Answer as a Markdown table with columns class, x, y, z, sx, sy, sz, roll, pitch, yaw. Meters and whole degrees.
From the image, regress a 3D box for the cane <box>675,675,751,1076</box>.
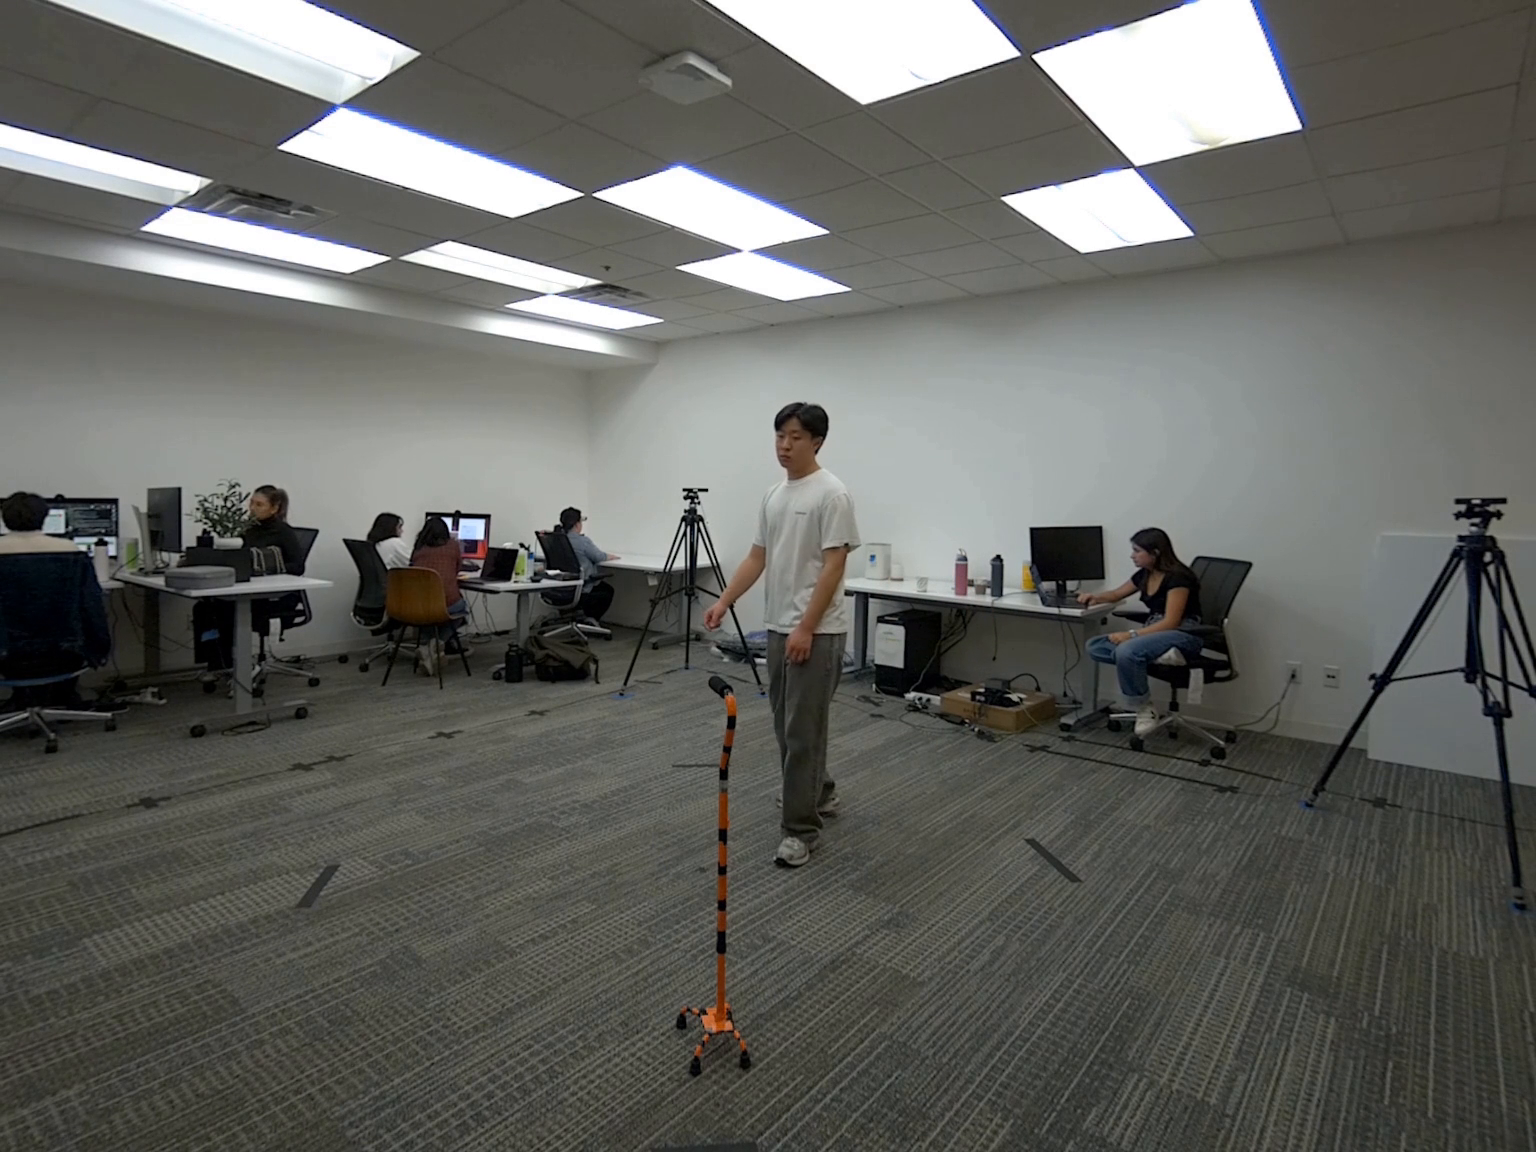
| class | x | y | z | sx | sy | sz | roll | pitch | yaw |
| --- | --- | --- | --- | --- | --- | --- | --- | --- | --- |
| cane | -0.129 | 0.712 | 2.108 | 0.149 | 0.906 | 0.210 | 1 | 3 | -17 |
